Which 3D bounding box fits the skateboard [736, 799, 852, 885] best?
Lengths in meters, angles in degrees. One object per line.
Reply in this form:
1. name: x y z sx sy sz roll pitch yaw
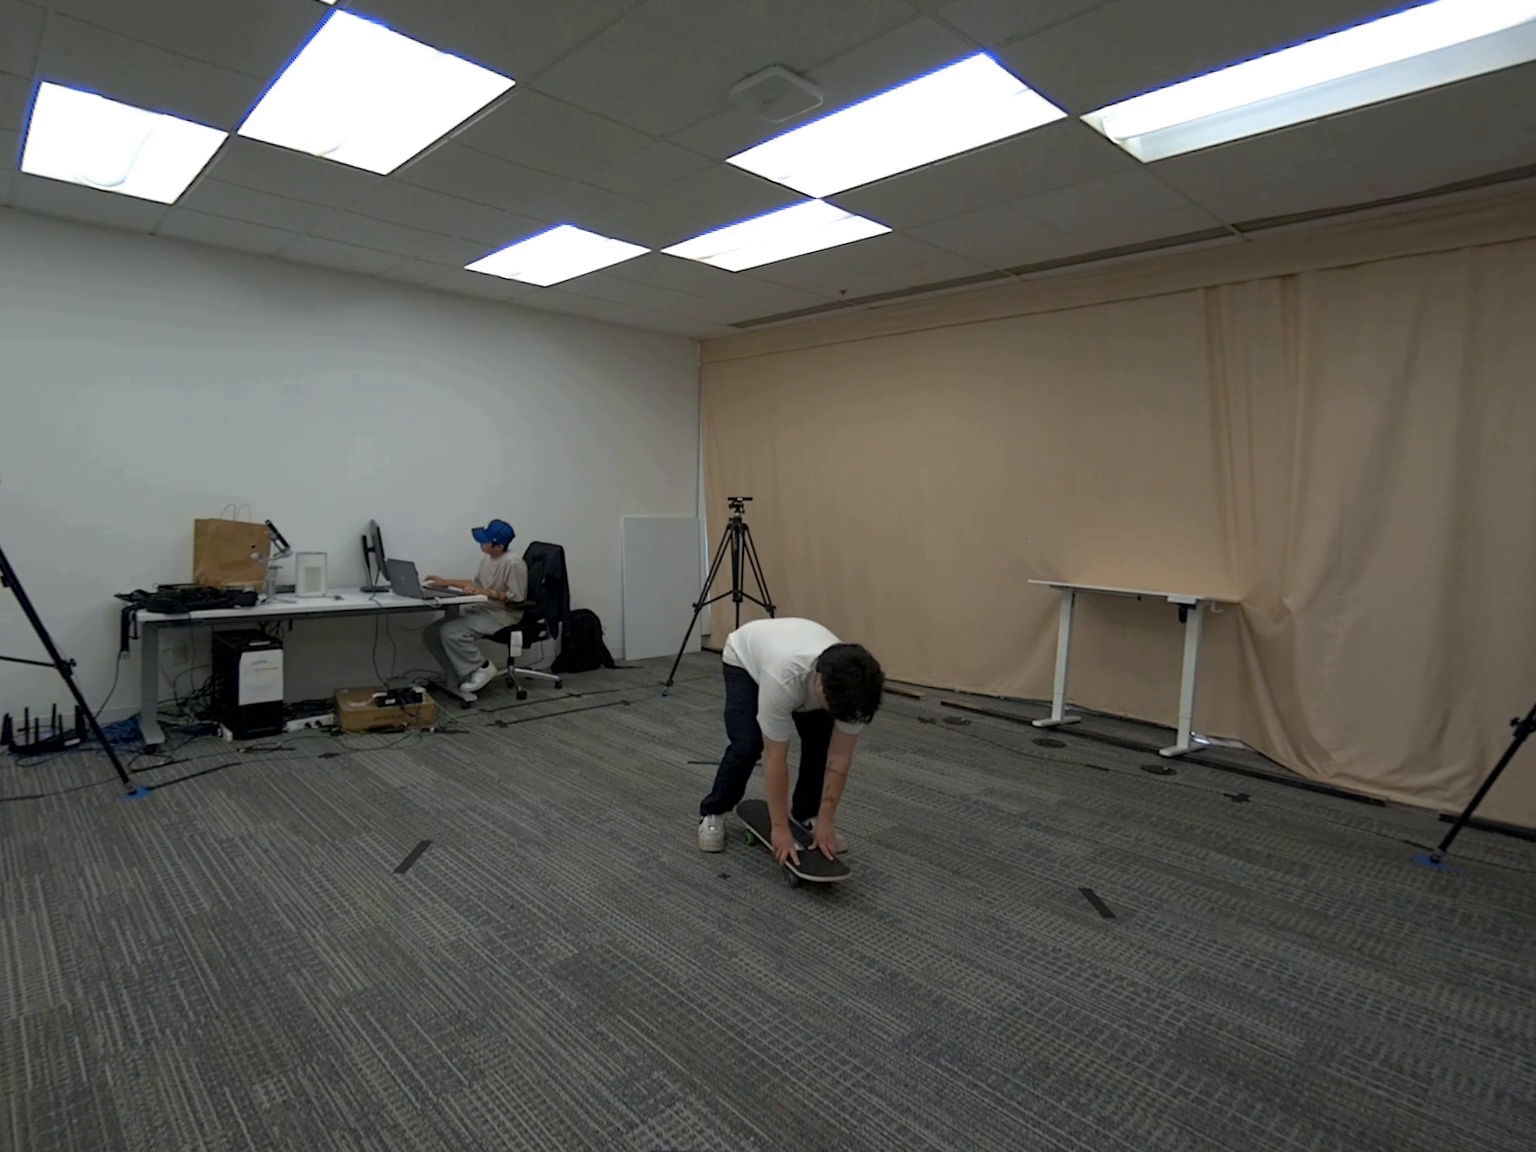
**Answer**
1. skateboard: 0.067 1.048 3.239 0.190 0.110 0.801 0 5 -23
